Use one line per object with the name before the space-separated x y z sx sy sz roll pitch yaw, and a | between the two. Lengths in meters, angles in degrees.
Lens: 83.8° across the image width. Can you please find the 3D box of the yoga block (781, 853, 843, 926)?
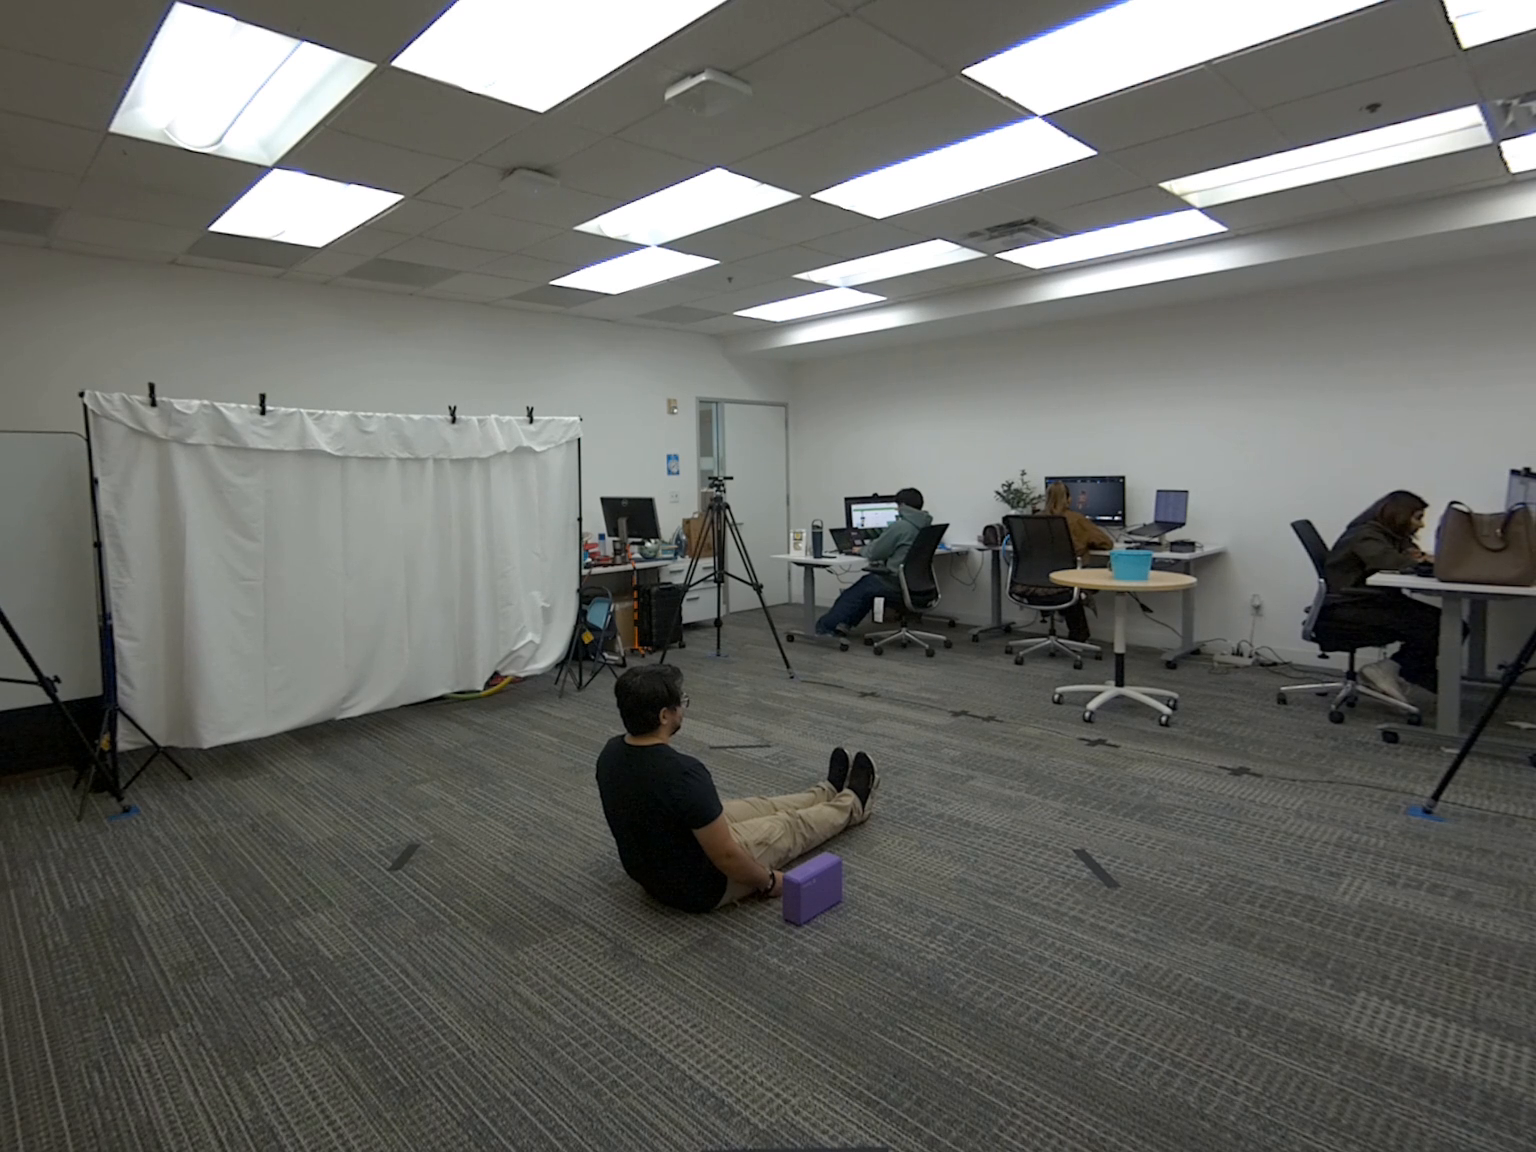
yoga block | 0.146 0.997 2.736 0.079 0.148 0.223 4 7 43
